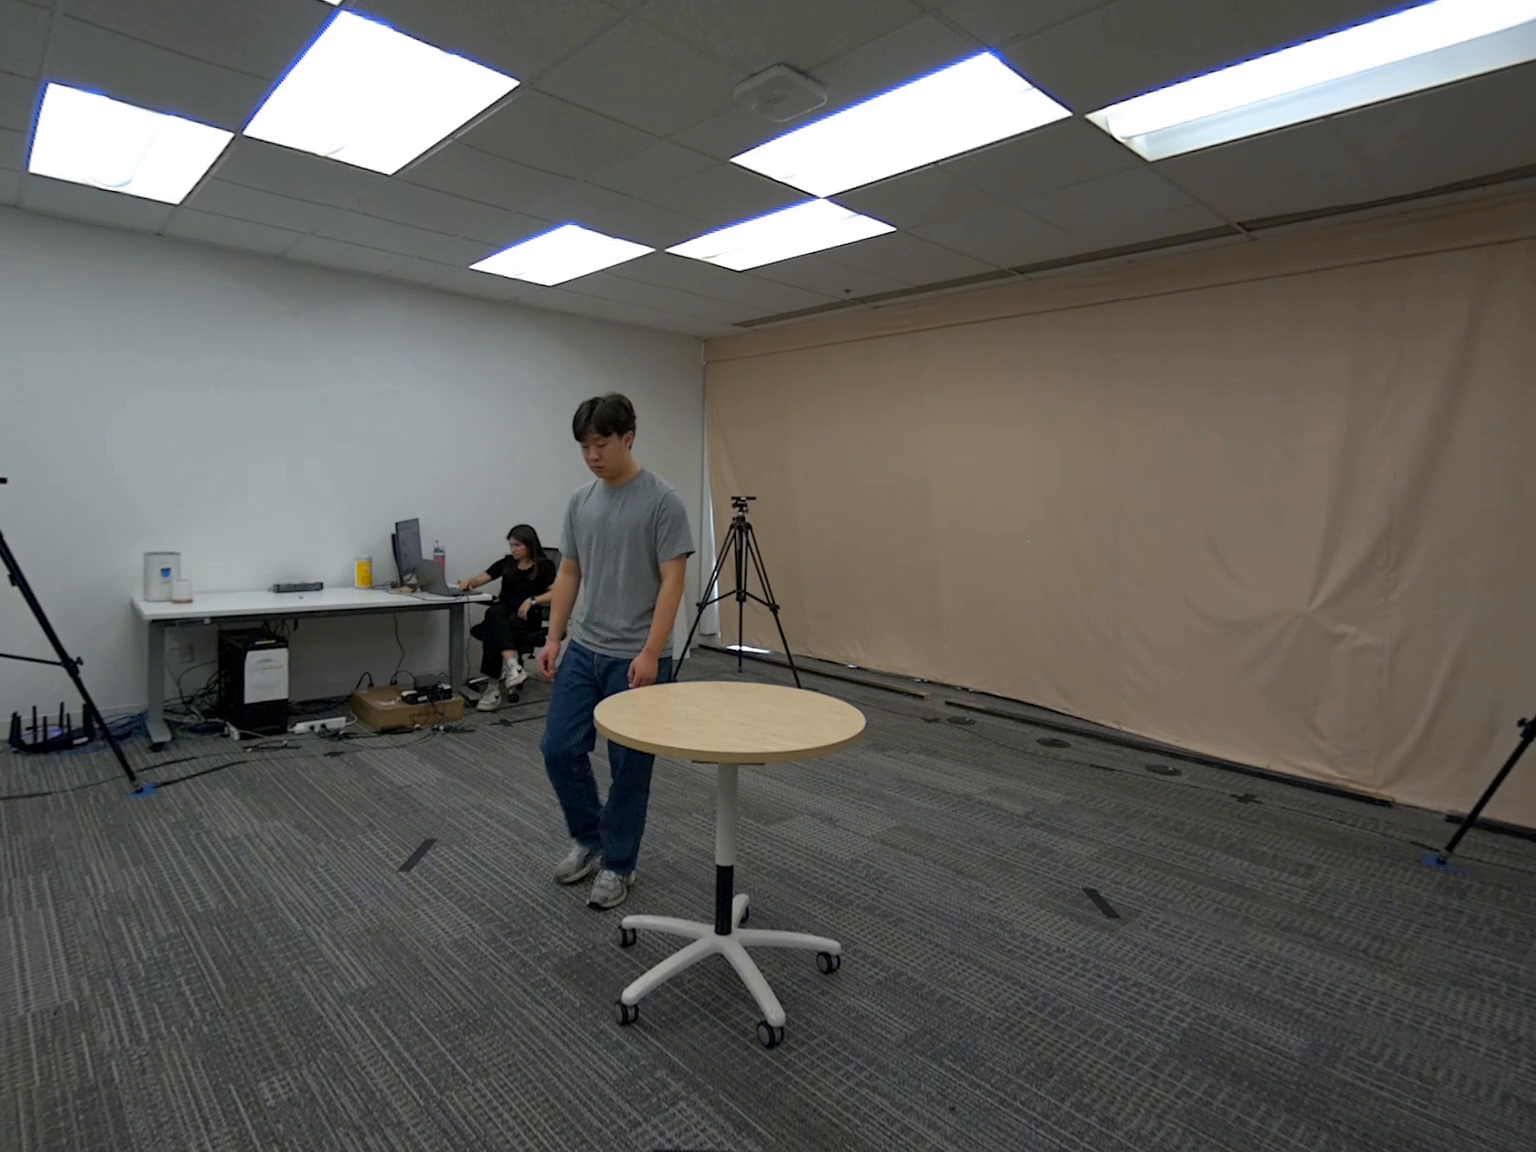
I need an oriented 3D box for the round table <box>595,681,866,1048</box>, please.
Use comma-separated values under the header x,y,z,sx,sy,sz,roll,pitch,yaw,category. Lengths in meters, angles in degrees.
x,y,z,sx,sy,sz,roll,pitch,yaw,category
-0.124,0.782,2.412,0.763,0.792,0.767,2,4,-2,round table
